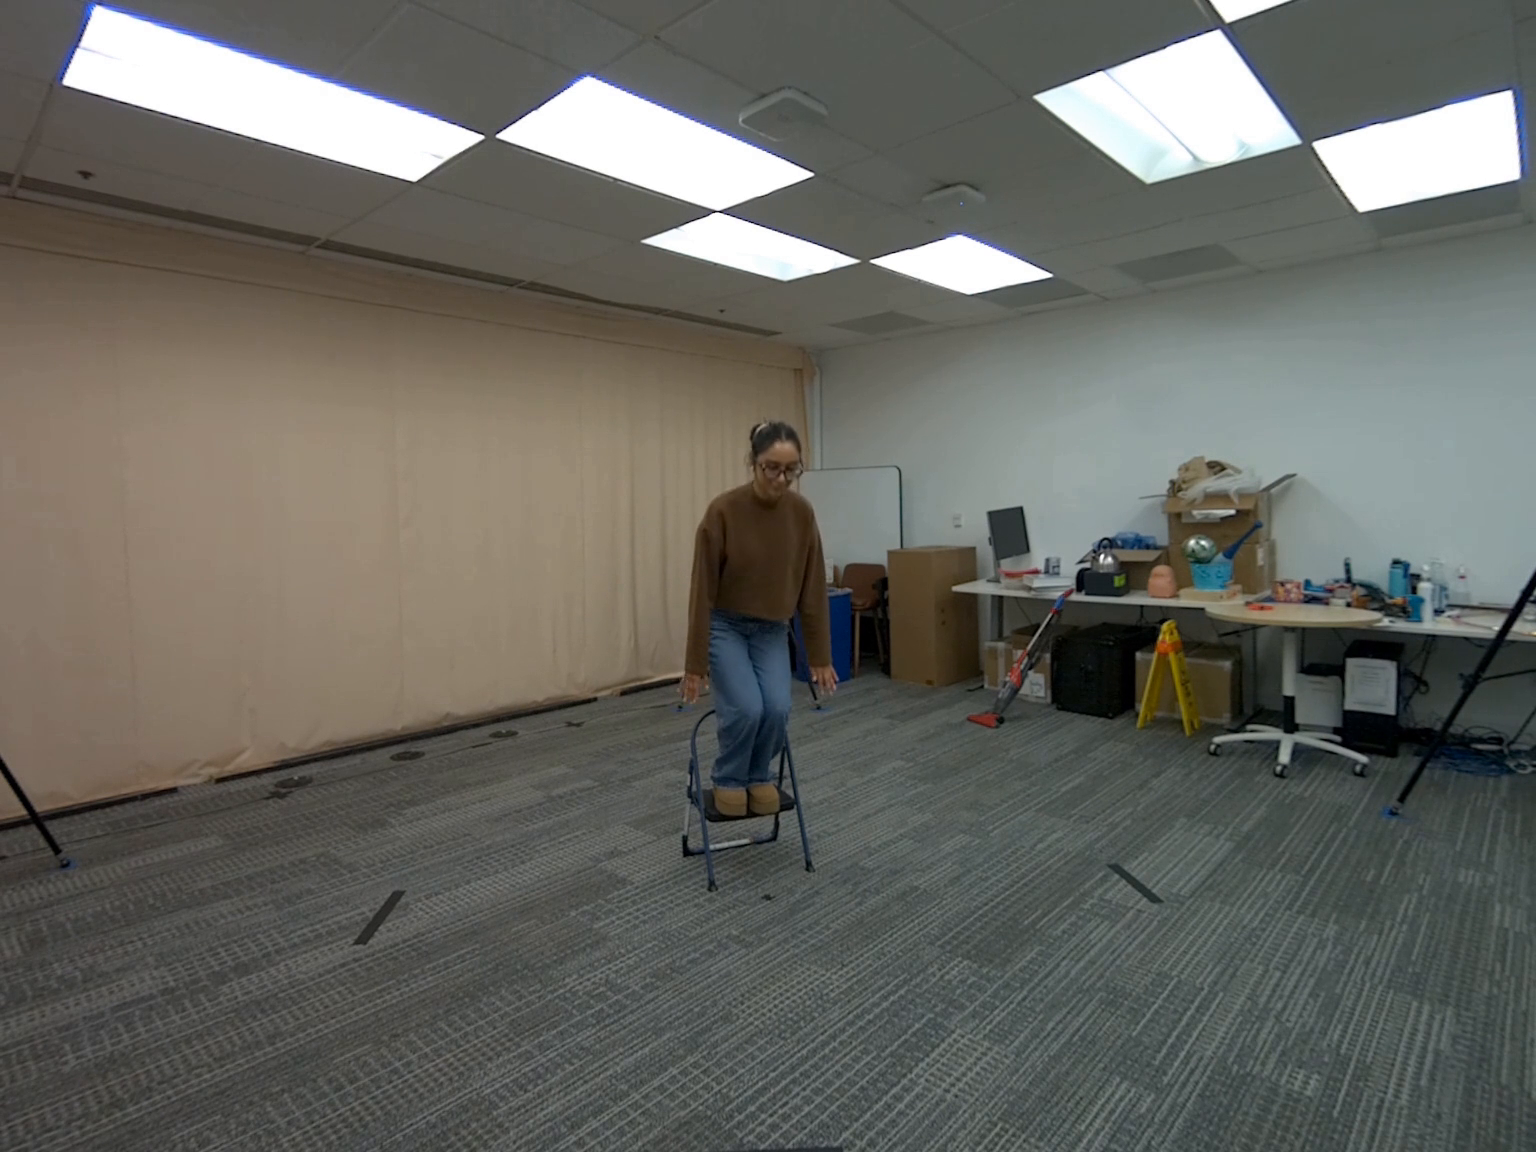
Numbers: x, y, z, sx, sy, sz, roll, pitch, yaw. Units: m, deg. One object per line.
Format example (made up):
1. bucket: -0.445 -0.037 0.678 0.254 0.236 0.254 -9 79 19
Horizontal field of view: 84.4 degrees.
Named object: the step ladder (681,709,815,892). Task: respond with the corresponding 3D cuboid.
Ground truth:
1. step ladder: -0.088 0.818 3.261 0.421 0.605 0.358 -3 4 -23
